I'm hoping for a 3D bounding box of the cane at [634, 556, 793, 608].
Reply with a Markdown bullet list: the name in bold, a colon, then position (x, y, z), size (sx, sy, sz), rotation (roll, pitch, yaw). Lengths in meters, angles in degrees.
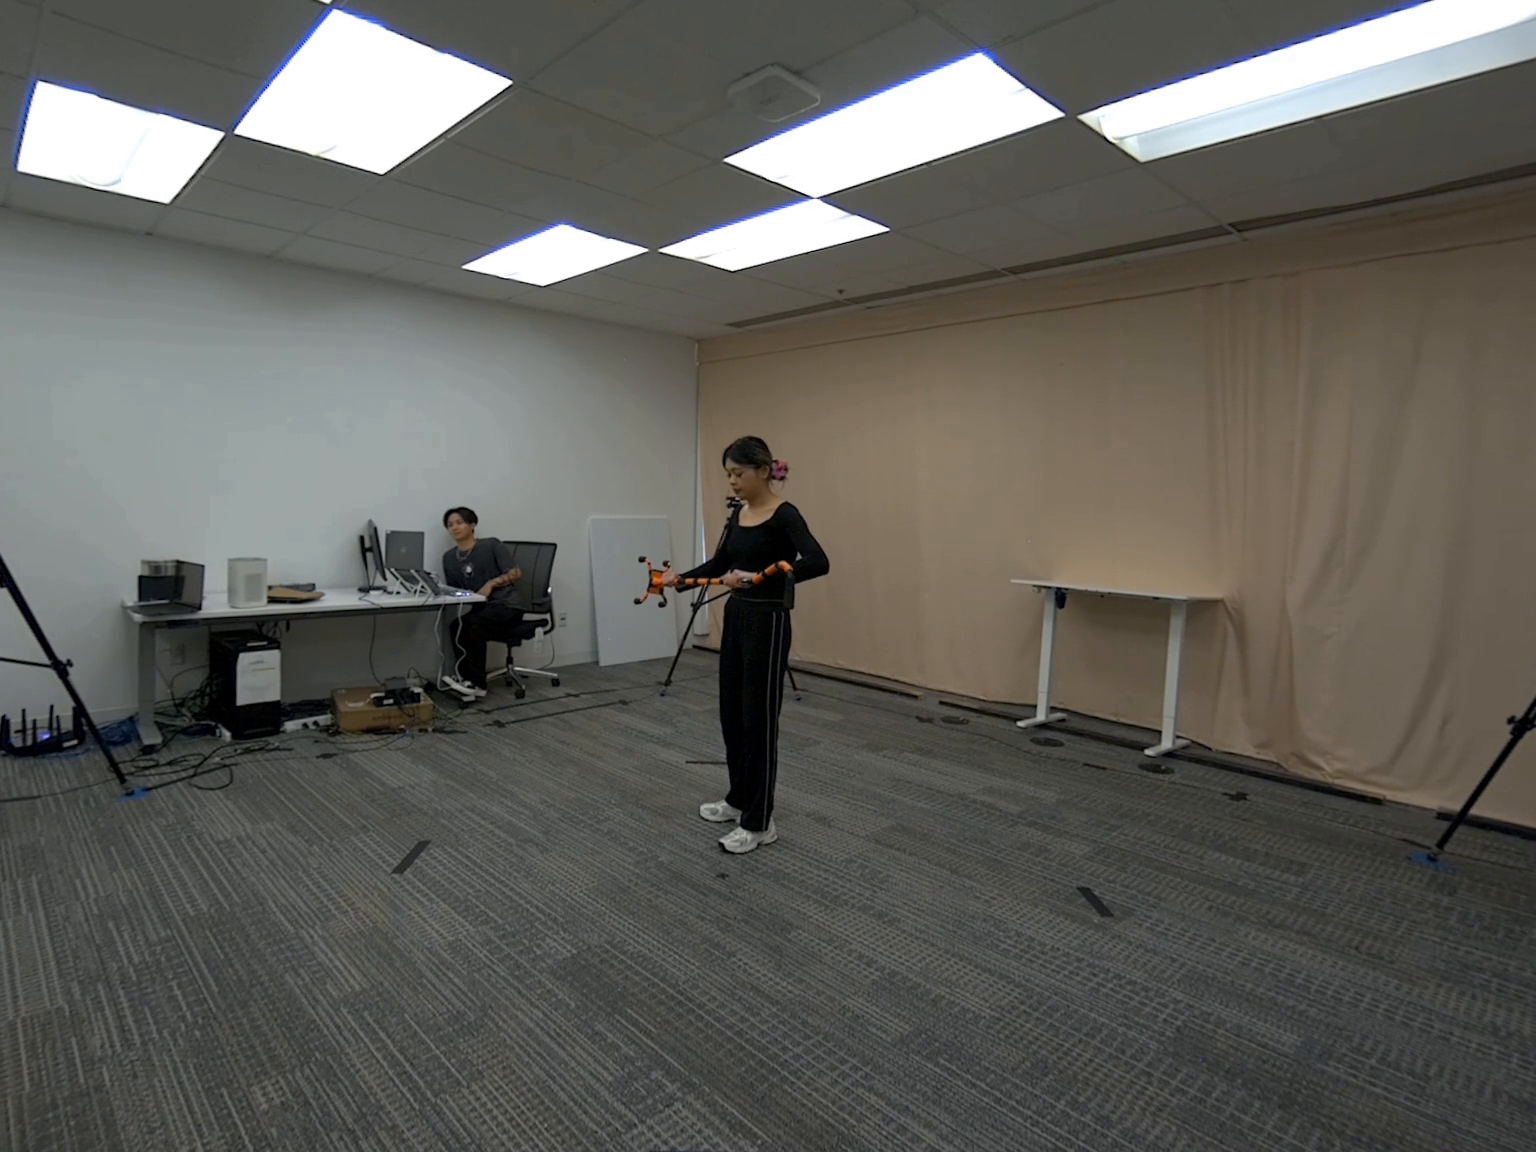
- **cane**: position (-0.209, 0.019, 3.197), size (0.148, 0.207, 0.928), rotation (8, -6, -38)
